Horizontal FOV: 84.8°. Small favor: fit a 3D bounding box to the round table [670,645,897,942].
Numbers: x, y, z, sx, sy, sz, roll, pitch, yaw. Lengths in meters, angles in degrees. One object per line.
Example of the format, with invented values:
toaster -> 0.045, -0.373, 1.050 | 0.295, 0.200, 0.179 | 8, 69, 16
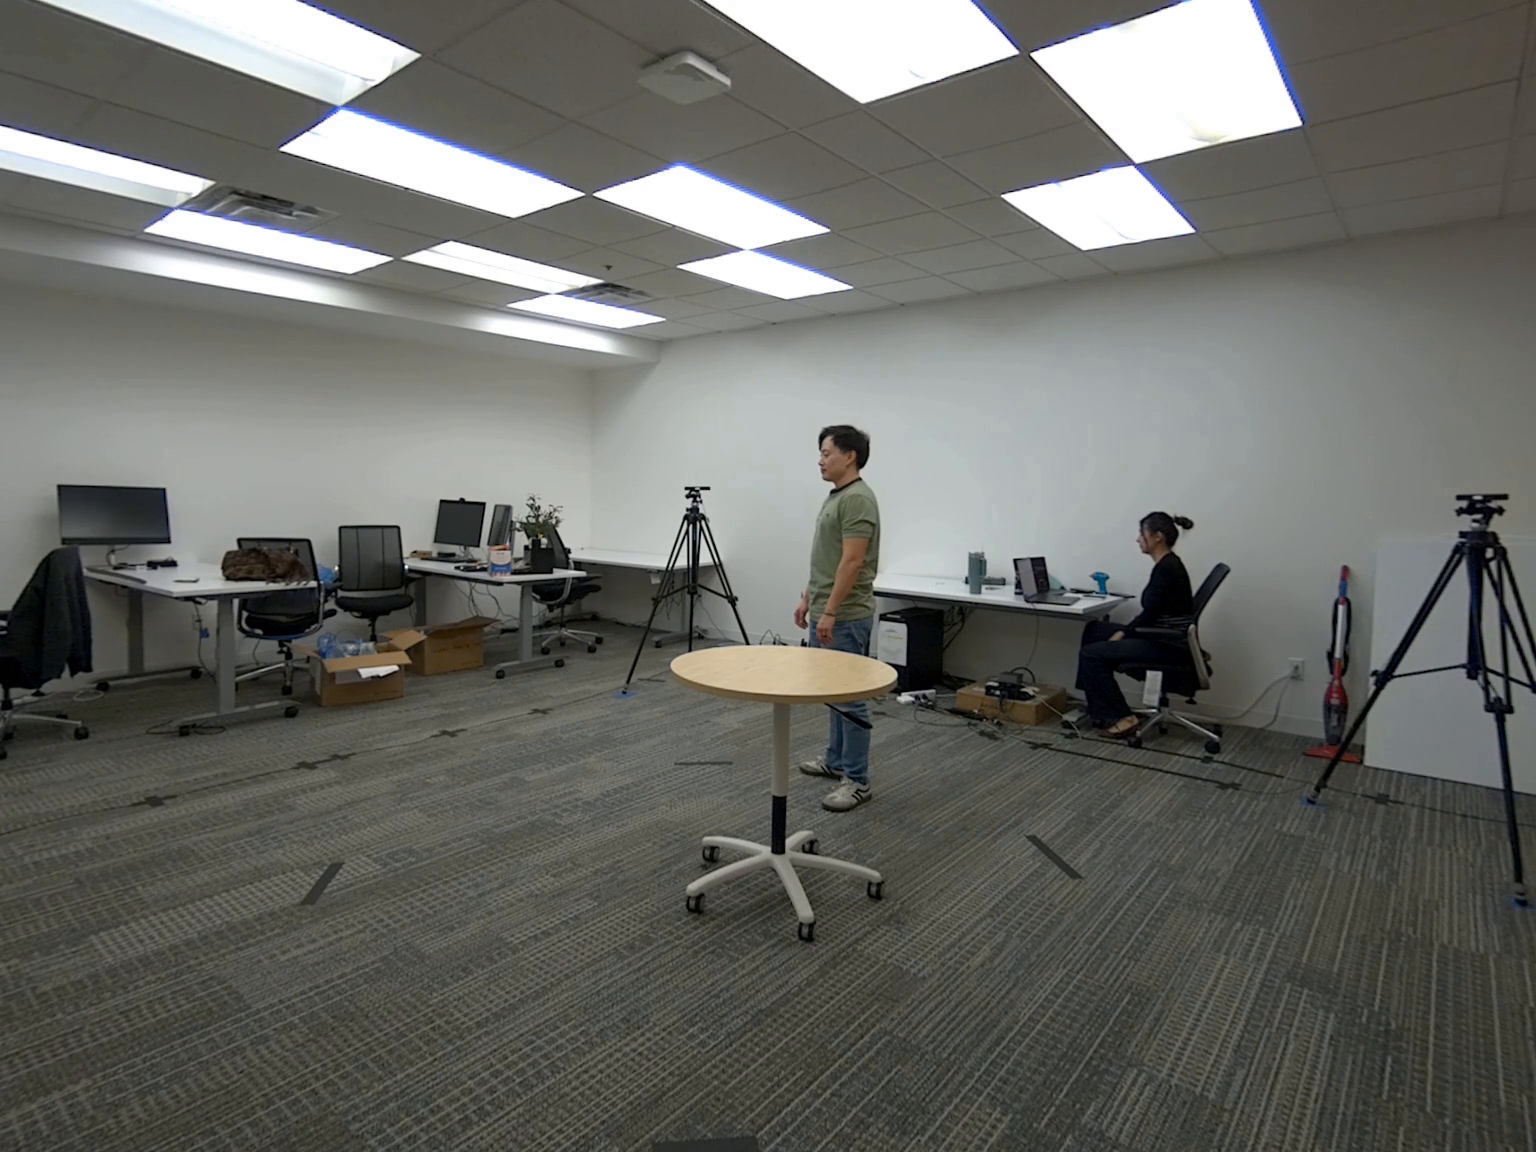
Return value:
round table -> 0.031, 0.699, 2.922 | 0.763, 0.791, 0.768 | 1, 5, -2
